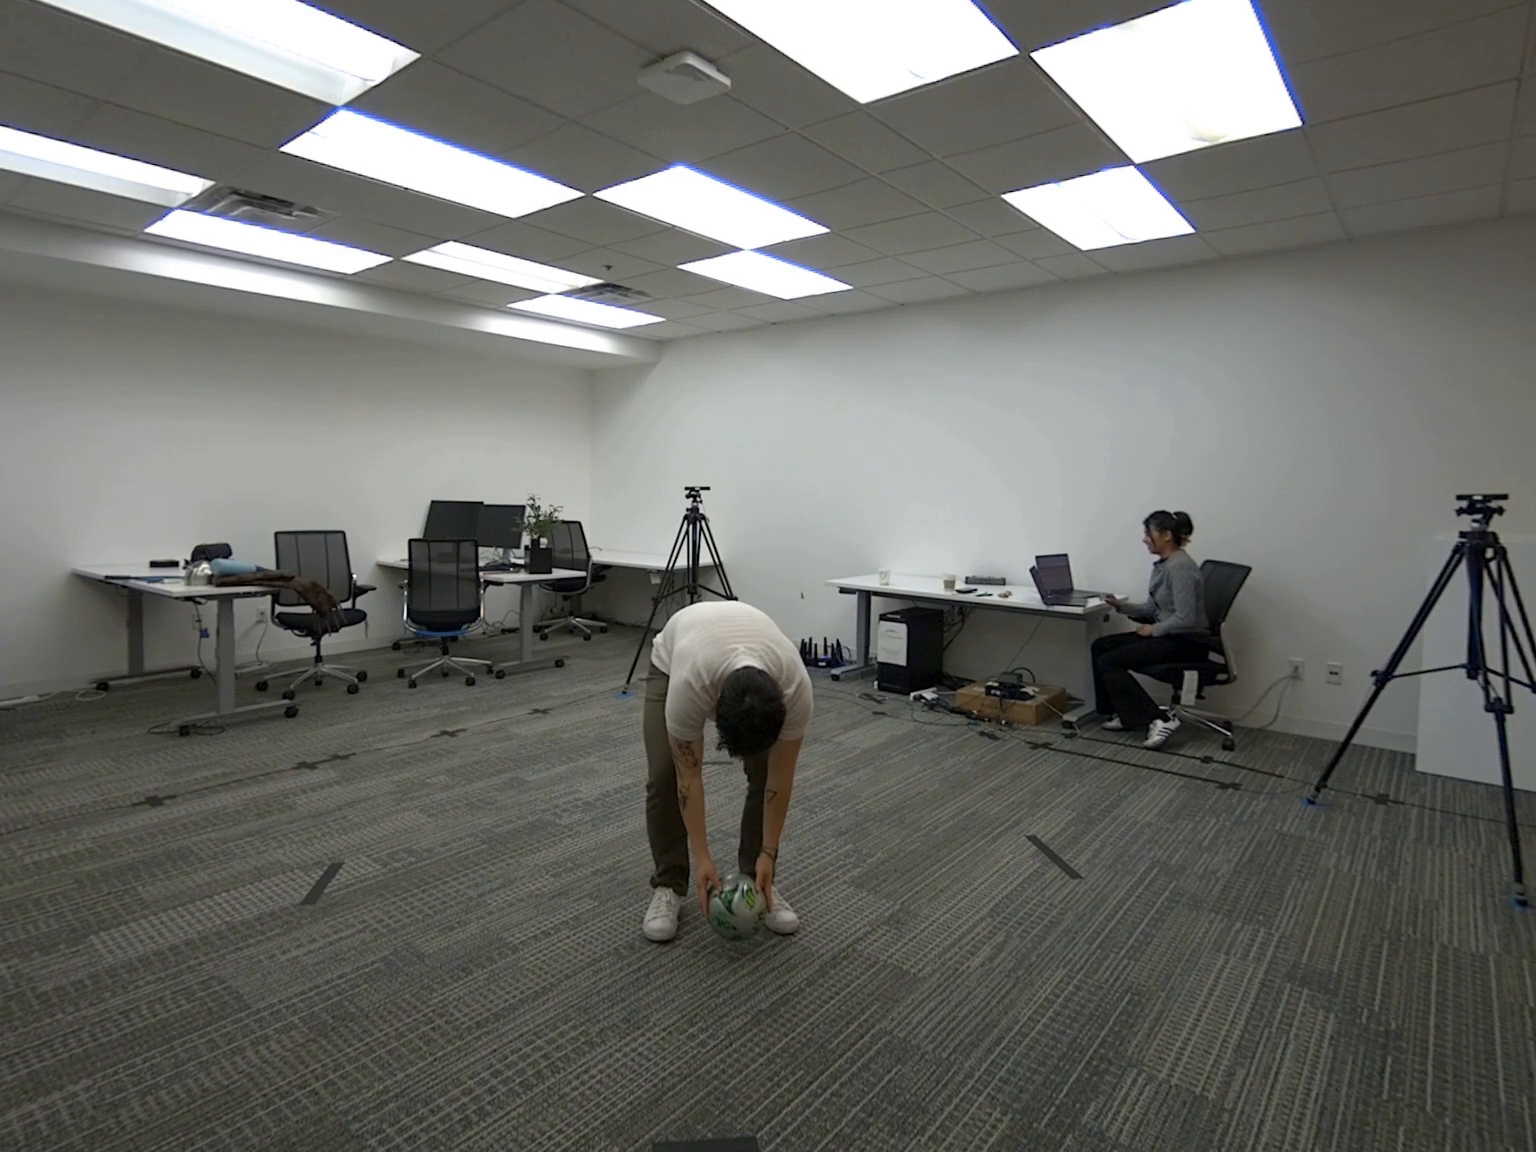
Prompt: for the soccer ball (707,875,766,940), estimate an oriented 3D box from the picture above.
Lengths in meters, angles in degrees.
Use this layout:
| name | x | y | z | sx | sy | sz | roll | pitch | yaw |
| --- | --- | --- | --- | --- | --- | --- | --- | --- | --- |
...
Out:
| name | x | y | z | sx | sy | sz | roll | pitch | yaw |
| --- | --- | --- | --- | --- | --- | --- | --- | --- | --- |
| soccer ball | -0.106 | 0.968 | 2.522 | 0.187 | 0.187 | 0.188 | 1 | 4 | -2 |
